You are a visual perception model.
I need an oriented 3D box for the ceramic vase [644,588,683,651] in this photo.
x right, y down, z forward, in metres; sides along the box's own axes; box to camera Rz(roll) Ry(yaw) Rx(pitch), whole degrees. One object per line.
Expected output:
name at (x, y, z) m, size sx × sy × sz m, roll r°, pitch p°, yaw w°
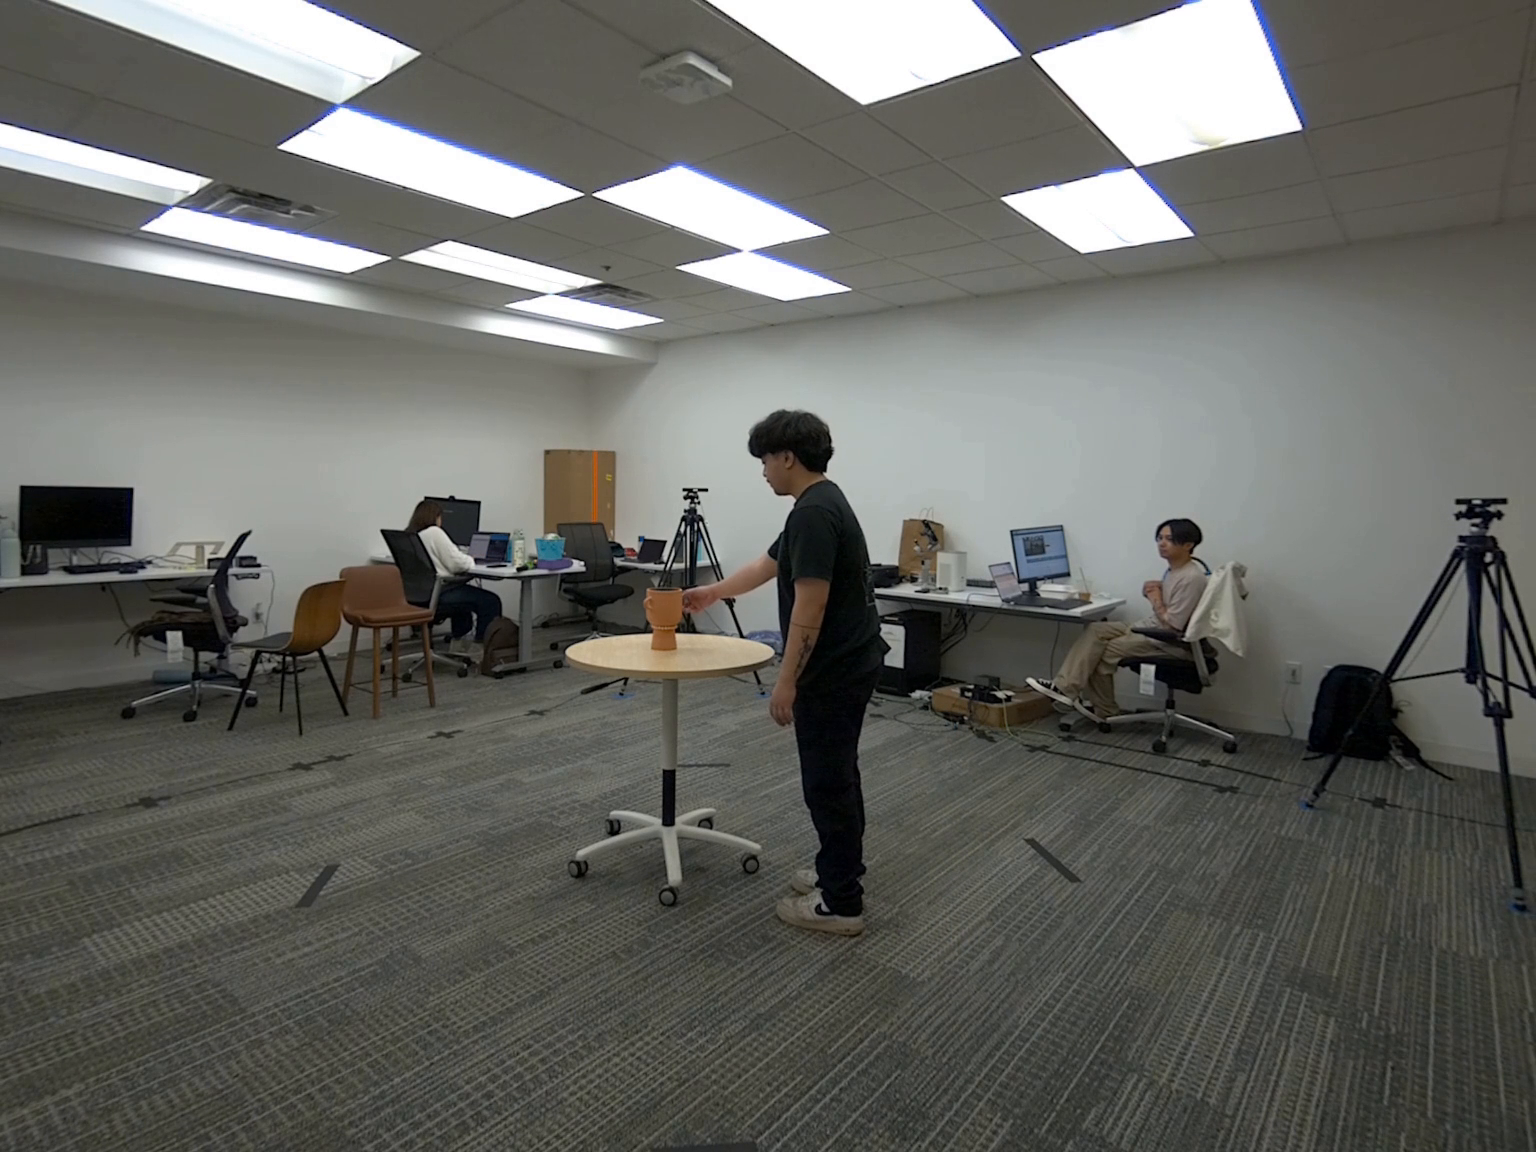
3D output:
ceramic vase at (-0.391, 0.159, 3.175) m, size 0.157 × 0.219 × 0.136 m, roll 1°, pitch 3°, yaw -9°
